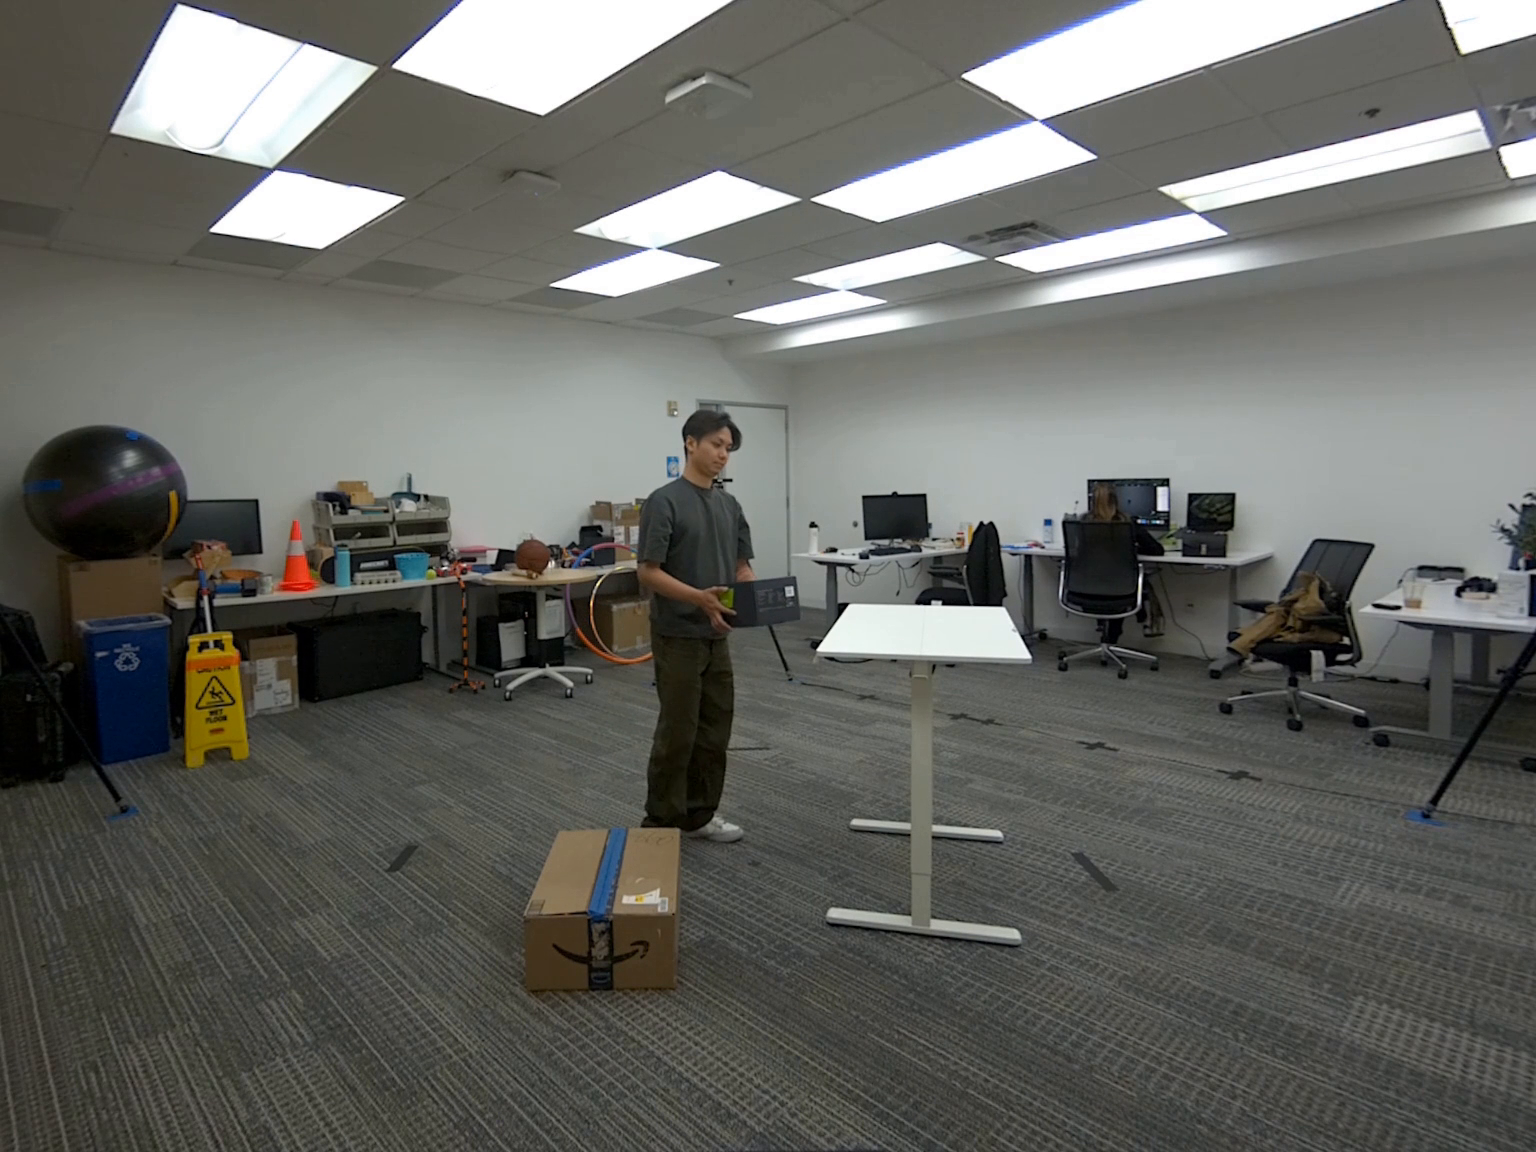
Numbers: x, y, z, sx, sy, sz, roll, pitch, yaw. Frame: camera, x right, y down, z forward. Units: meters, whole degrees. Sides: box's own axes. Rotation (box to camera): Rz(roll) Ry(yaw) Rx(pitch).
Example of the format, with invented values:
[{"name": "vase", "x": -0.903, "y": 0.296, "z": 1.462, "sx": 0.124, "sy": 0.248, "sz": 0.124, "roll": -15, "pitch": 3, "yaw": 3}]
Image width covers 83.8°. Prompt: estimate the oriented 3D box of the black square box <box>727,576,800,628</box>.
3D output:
[{"name": "black square box", "x": -0.043, "y": 0.093, "z": 3.006, "sx": 0.211, "sy": 0.156, "sz": 0.233, "roll": -6, "pitch": -1, "yaw": -44}]
